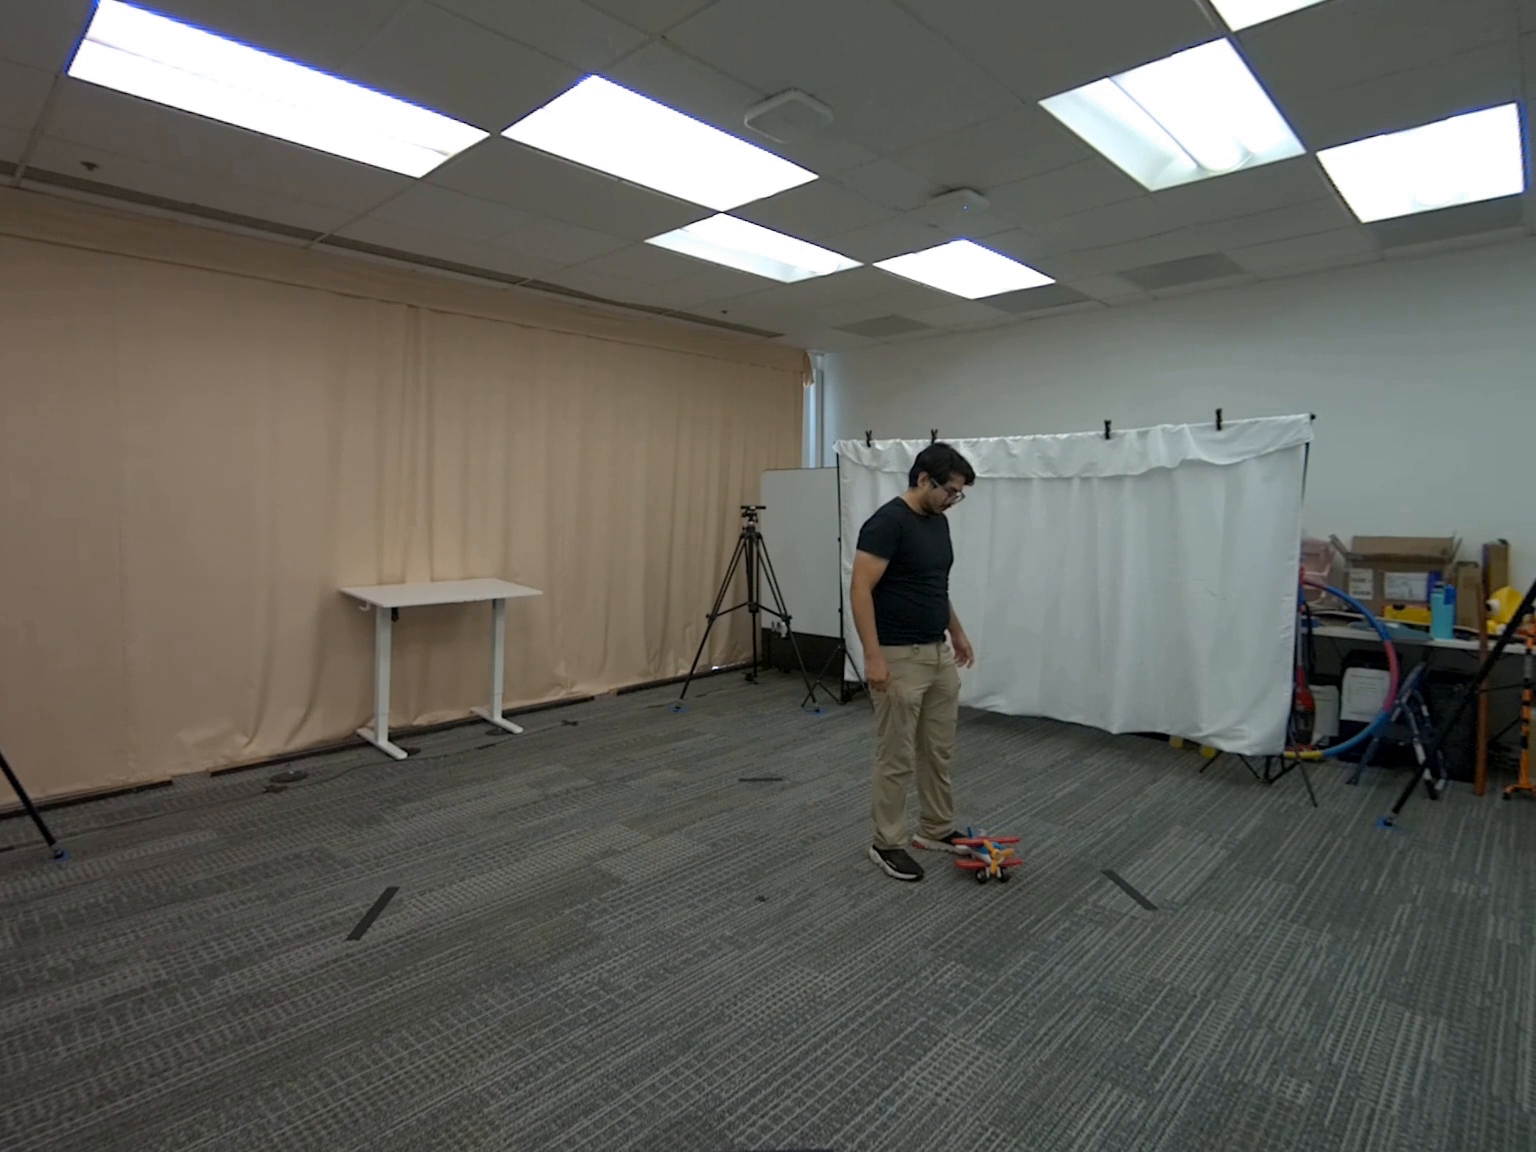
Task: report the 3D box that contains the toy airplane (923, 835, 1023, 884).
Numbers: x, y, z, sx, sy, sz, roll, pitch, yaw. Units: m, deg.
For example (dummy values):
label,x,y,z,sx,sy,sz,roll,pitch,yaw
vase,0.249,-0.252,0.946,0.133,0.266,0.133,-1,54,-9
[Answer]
label,x,y,z,sx,sy,sz,roll,pitch,yaw
toy airplane,0.801,1.050,3.185,0.244,0.156,0.268,-3,6,-37
